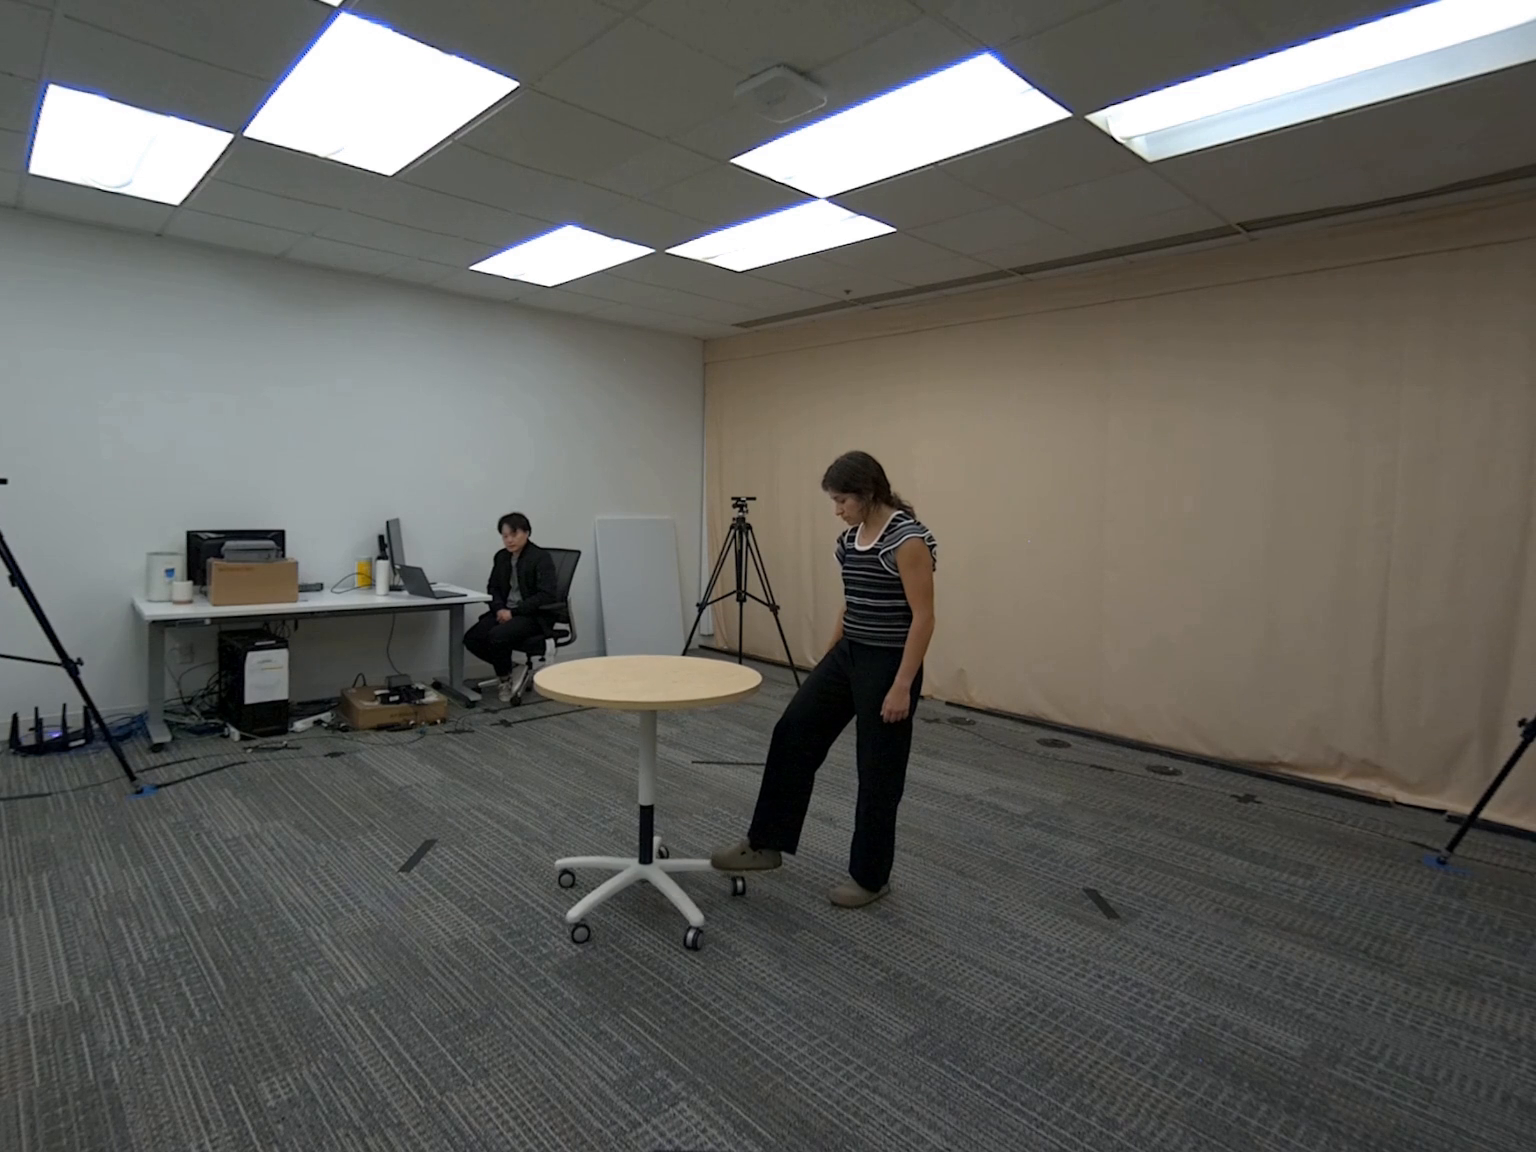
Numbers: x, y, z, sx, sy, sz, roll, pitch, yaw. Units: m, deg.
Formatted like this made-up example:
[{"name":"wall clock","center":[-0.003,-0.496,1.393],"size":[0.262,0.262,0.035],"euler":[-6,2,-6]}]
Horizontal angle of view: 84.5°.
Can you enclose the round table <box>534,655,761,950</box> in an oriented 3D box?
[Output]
[{"name":"round table","center":[-0.411,0.726,2.852],"size":[0.784,0.785,0.787],"euler":[1,3,-1]}]
